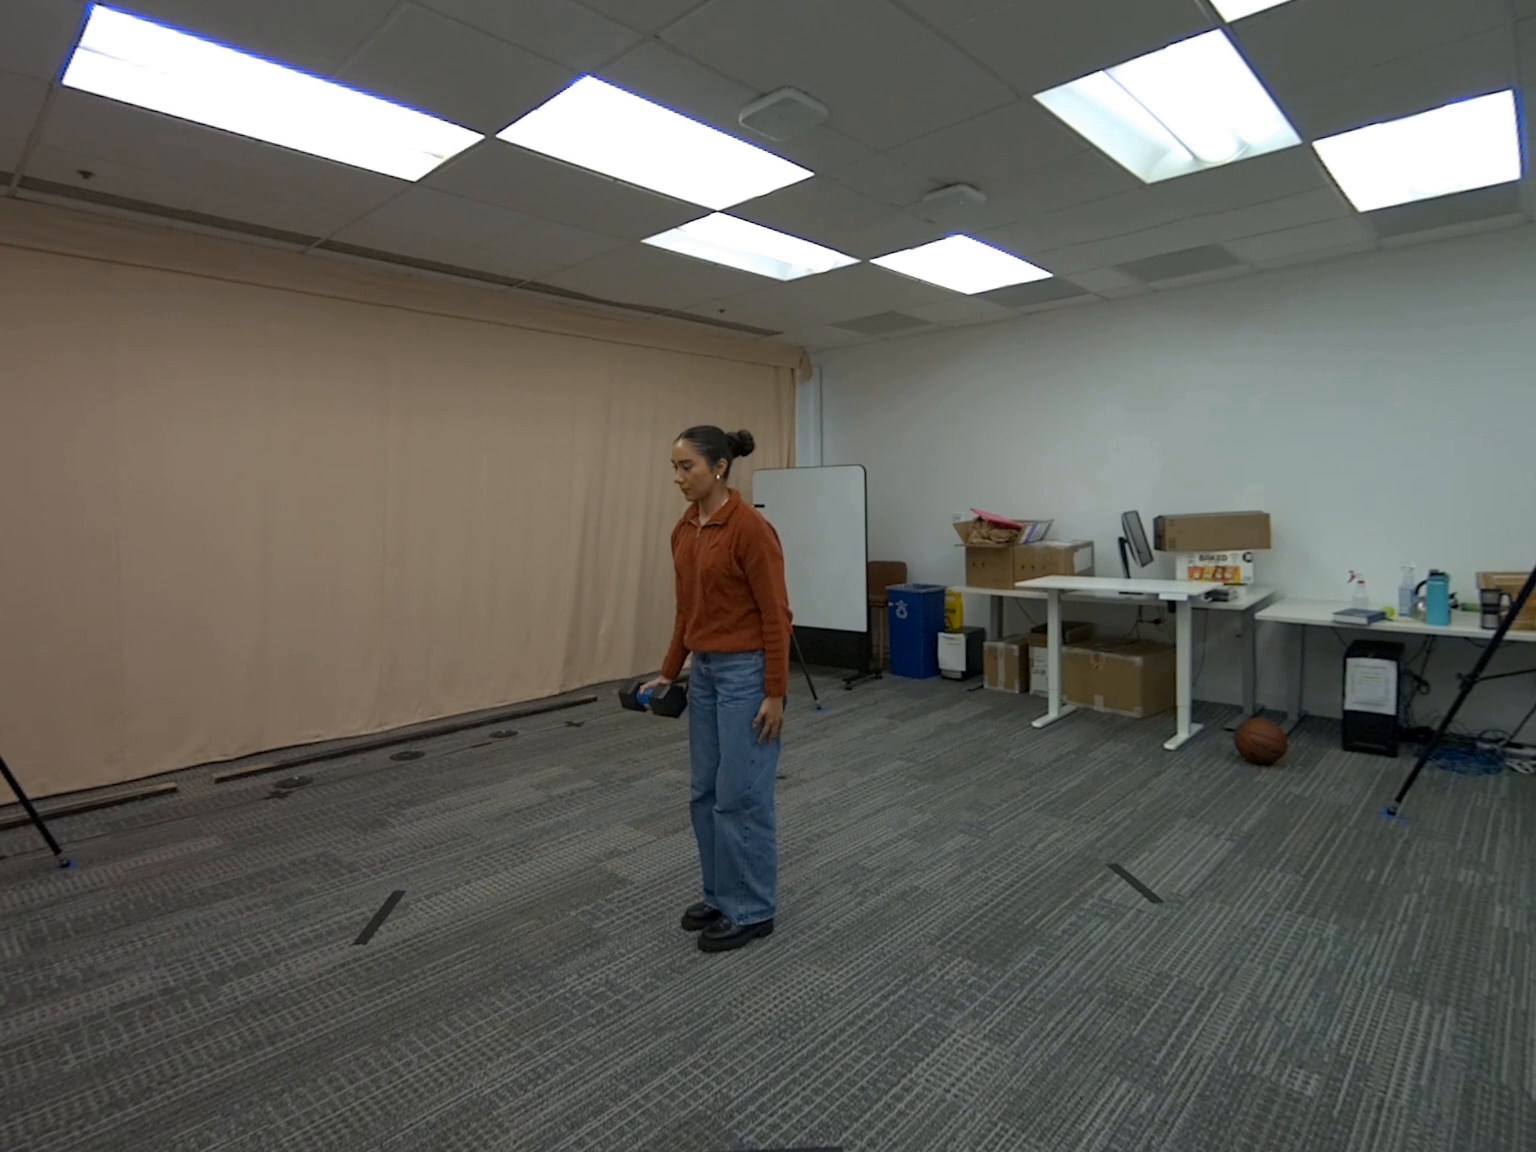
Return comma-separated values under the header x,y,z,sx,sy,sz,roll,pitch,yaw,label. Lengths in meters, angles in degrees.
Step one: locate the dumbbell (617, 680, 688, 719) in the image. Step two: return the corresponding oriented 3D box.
x,y,z,sx,sy,sz,roll,pitch,yaw,label
-0.391,0.415,2.870,0.106,0.122,0.302,-21,11,-35,dumbbell
